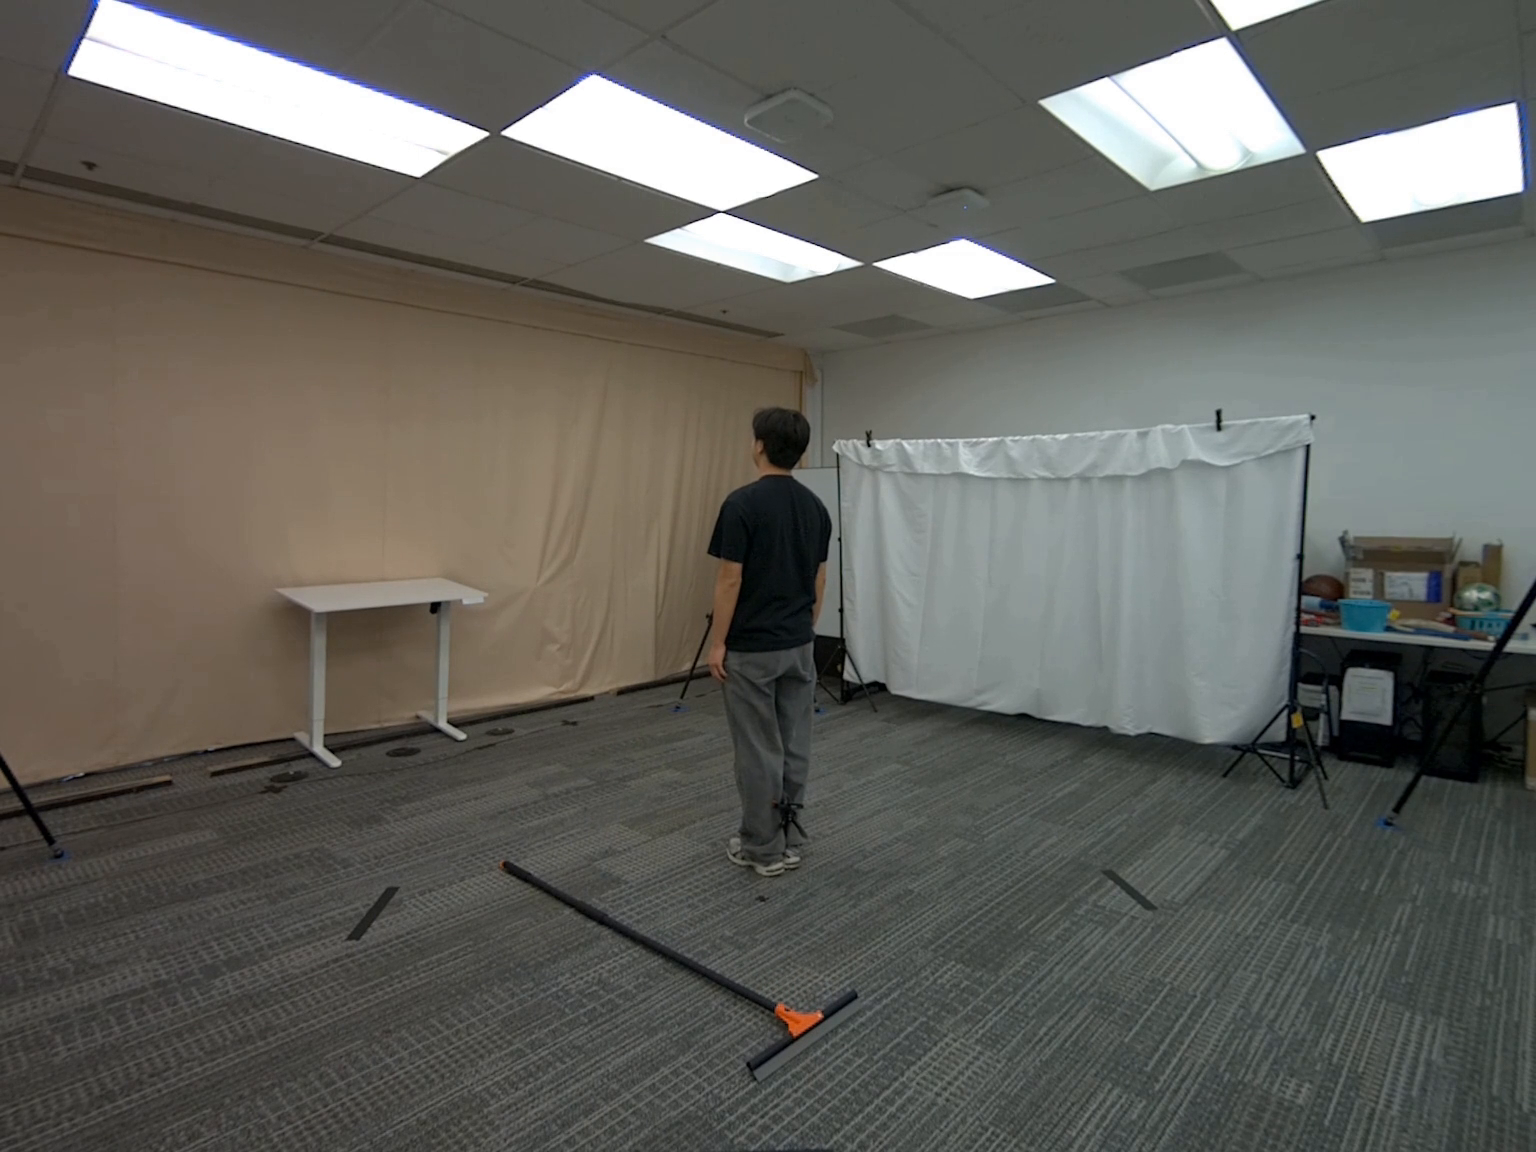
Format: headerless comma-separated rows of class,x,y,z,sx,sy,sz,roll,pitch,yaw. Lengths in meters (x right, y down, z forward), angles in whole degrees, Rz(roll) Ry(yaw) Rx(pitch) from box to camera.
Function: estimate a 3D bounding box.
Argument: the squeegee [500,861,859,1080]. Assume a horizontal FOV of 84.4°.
squeegee,-0.444,1.130,2.732,1.589,0.053,0.424,3,5,44
